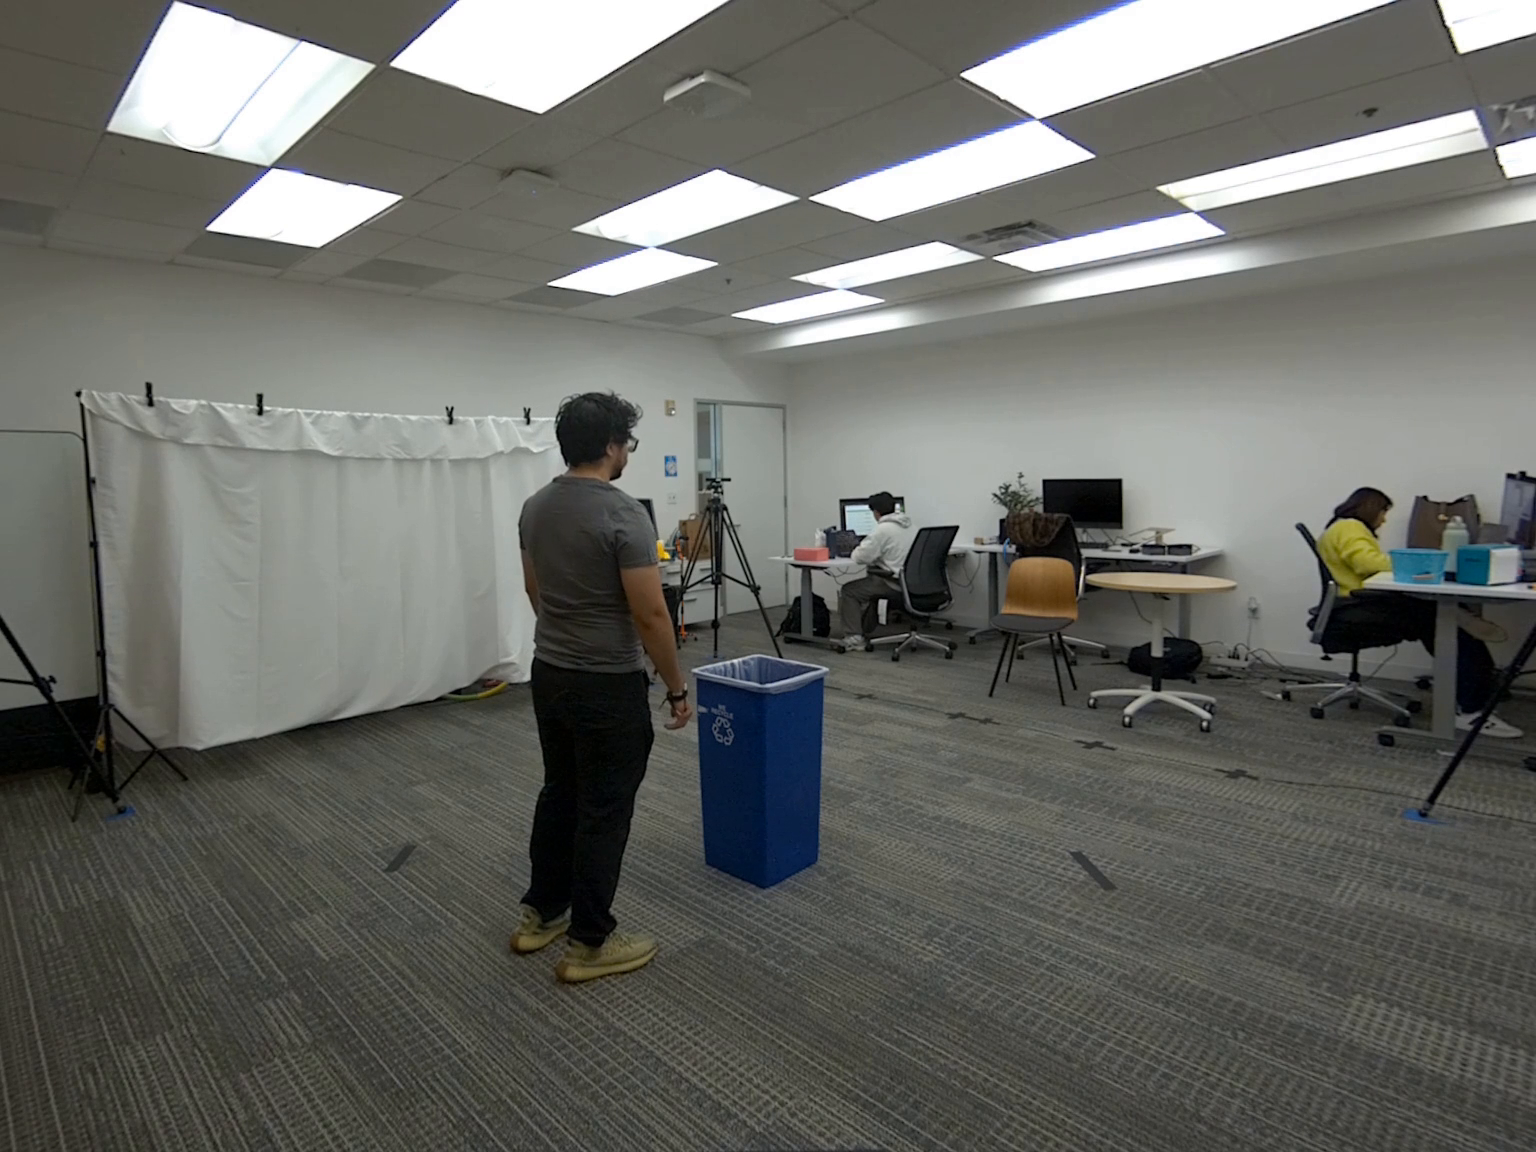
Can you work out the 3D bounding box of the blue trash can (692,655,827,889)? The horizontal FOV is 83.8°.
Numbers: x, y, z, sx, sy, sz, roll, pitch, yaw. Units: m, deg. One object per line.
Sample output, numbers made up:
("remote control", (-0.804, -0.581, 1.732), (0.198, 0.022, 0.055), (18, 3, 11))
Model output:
("blue trash can", (-0.026, 0.686, 3.078), (0.390, 0.711, 0.364), (3, 5, 42))
